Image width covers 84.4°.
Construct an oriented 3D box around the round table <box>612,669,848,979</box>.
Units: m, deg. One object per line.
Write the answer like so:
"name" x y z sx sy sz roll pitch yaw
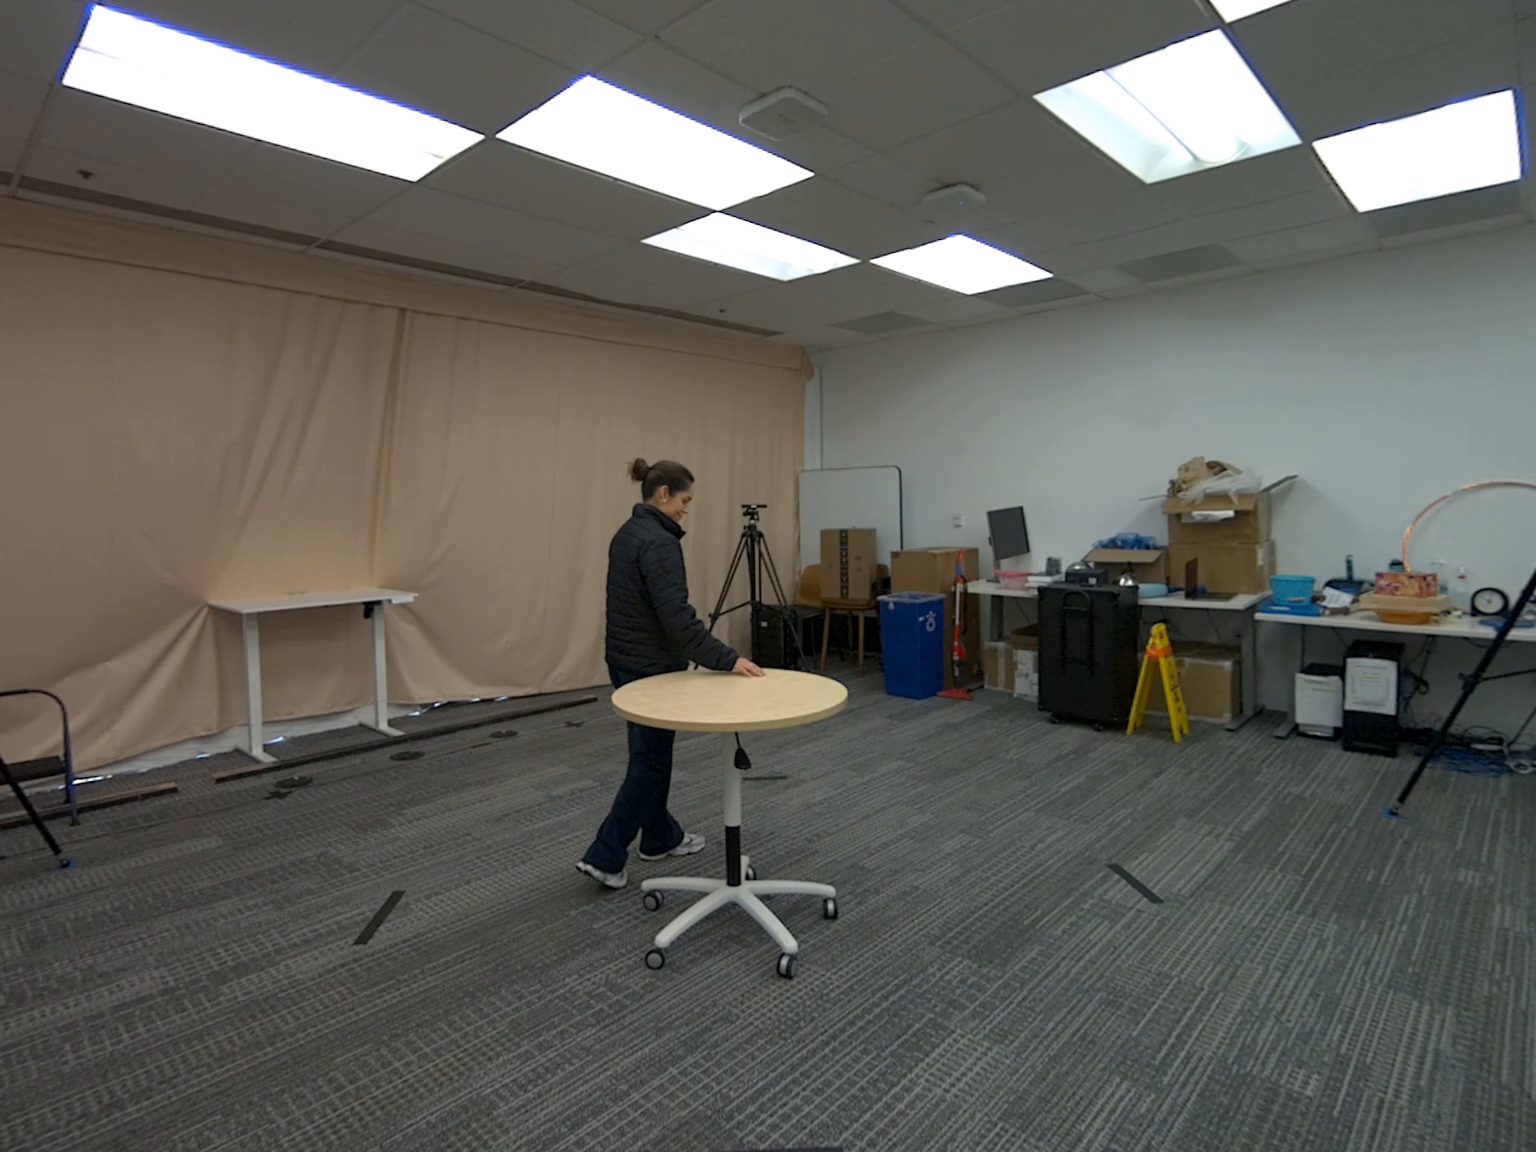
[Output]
"round table" -0.110 0.765 2.782 0.784 0.784 0.788 -1 4 -2
